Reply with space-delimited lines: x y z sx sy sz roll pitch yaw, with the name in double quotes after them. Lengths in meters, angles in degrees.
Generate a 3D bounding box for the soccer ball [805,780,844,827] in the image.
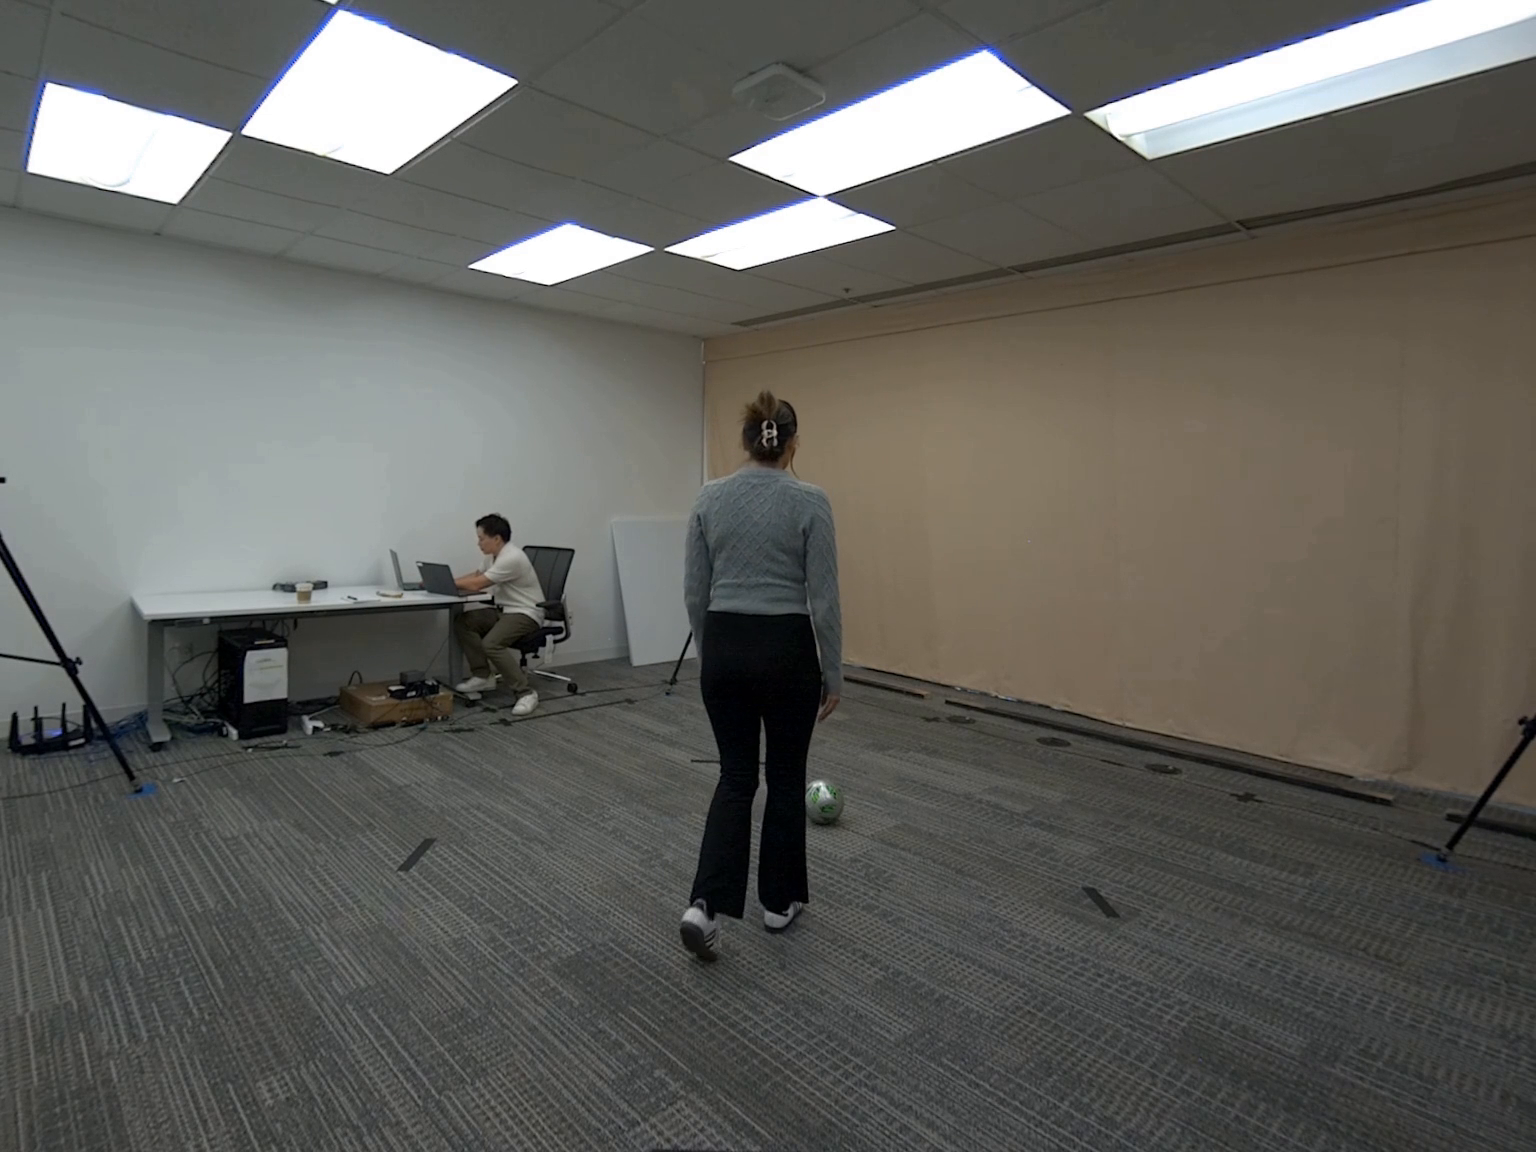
0.224 0.972 3.633 0.187 0.187 0.188 1 4 -1 "soccer ball"
